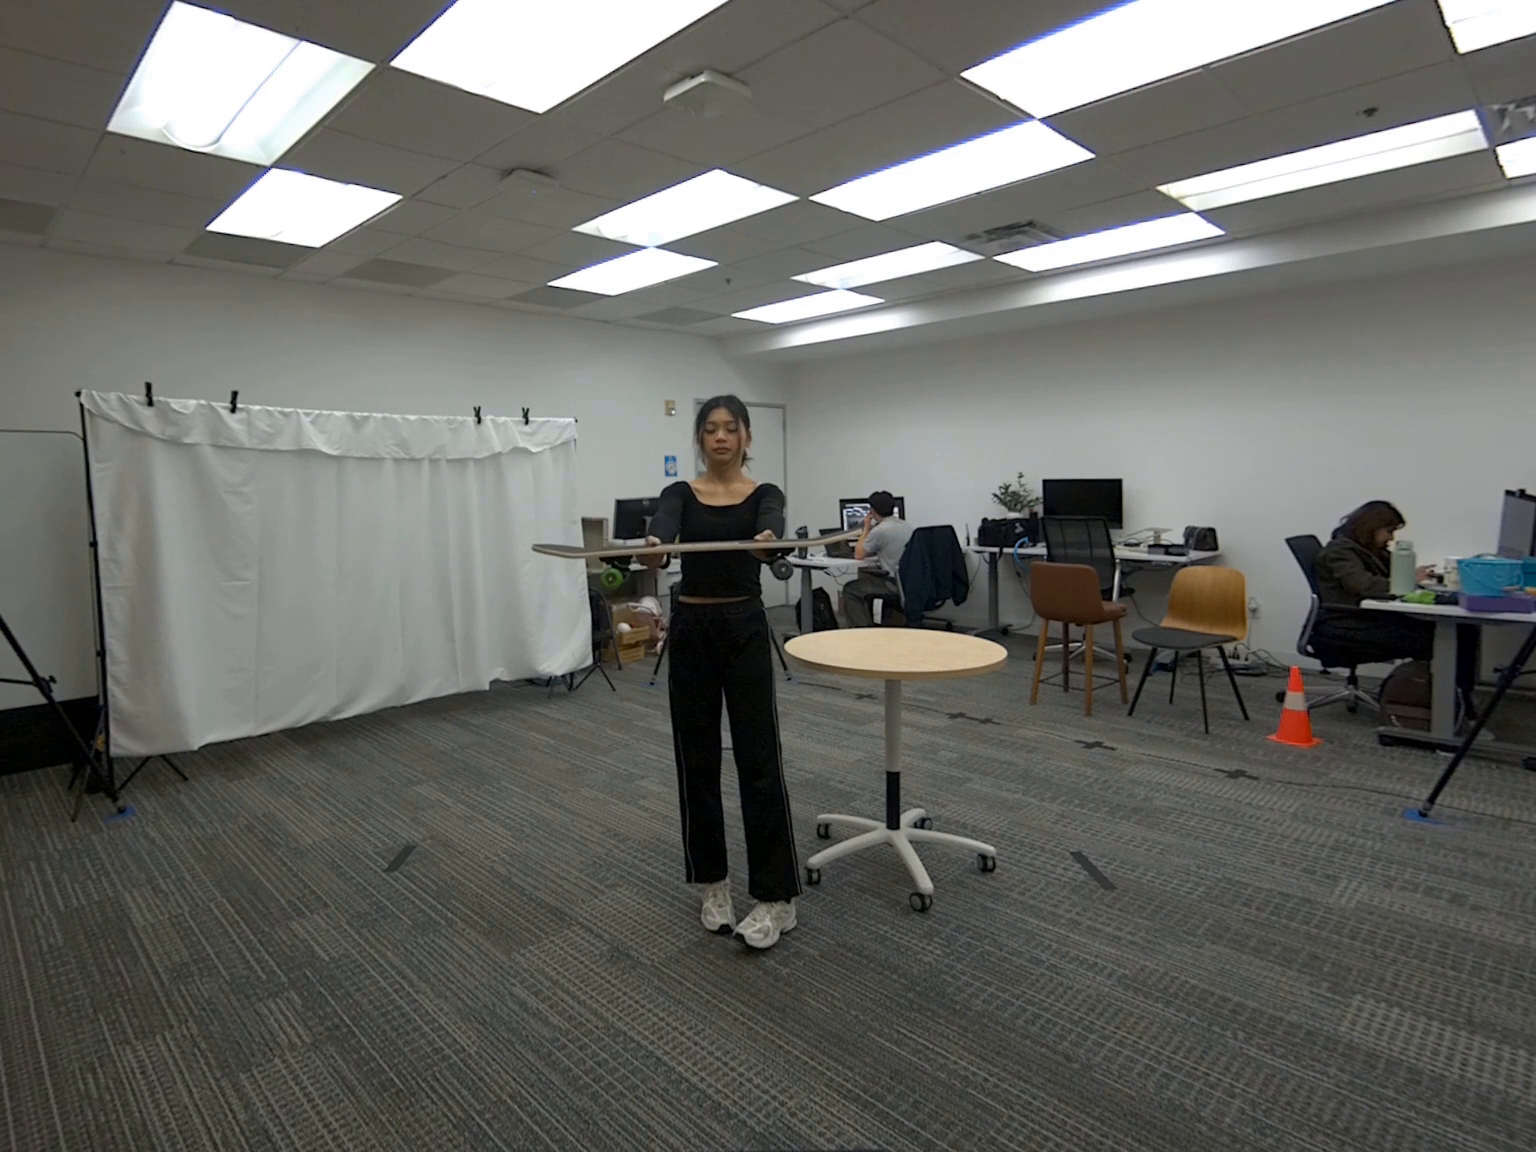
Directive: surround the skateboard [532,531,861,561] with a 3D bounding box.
[{"bbox_3d":[-0.182,-0.036,2.040,0.786,0.110,0.194,-3,4,1],"label":"skateboard"}]
